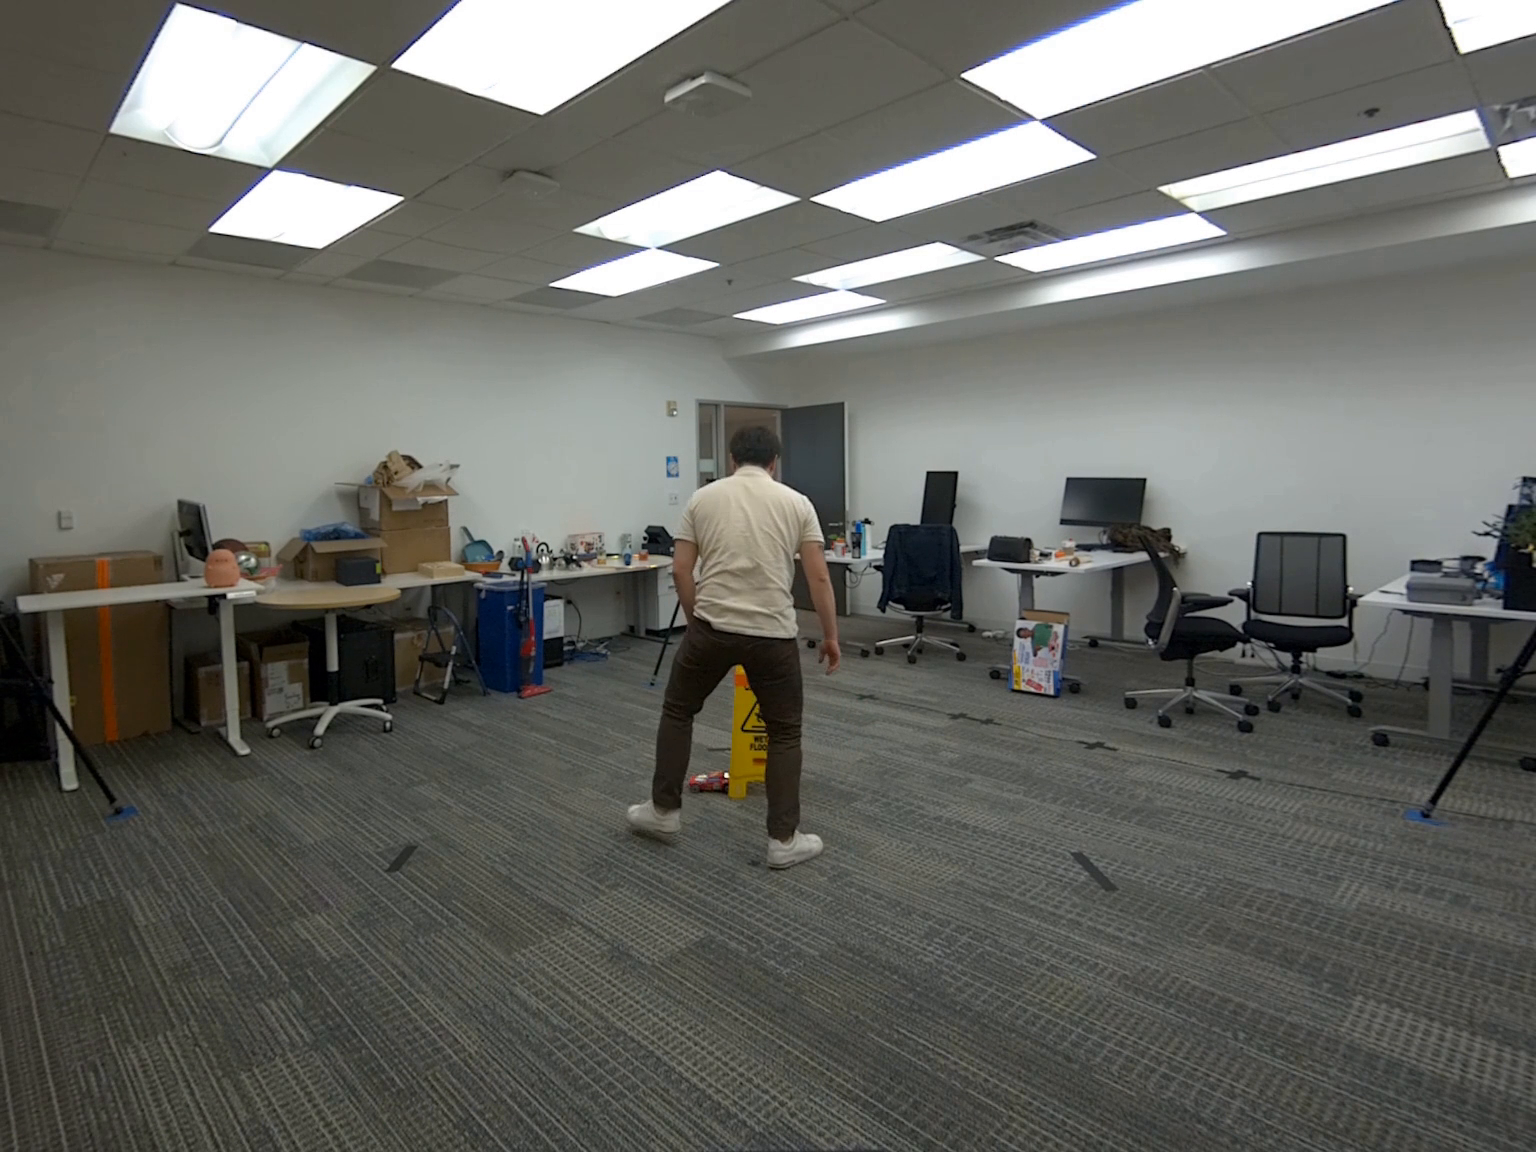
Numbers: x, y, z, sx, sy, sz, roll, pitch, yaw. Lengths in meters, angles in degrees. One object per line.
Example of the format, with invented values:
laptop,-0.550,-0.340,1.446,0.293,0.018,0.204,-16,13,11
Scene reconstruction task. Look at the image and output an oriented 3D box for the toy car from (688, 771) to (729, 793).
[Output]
toy car,-0.227,0.931,3.866,0.256,0.083,0.130,-12,4,6
